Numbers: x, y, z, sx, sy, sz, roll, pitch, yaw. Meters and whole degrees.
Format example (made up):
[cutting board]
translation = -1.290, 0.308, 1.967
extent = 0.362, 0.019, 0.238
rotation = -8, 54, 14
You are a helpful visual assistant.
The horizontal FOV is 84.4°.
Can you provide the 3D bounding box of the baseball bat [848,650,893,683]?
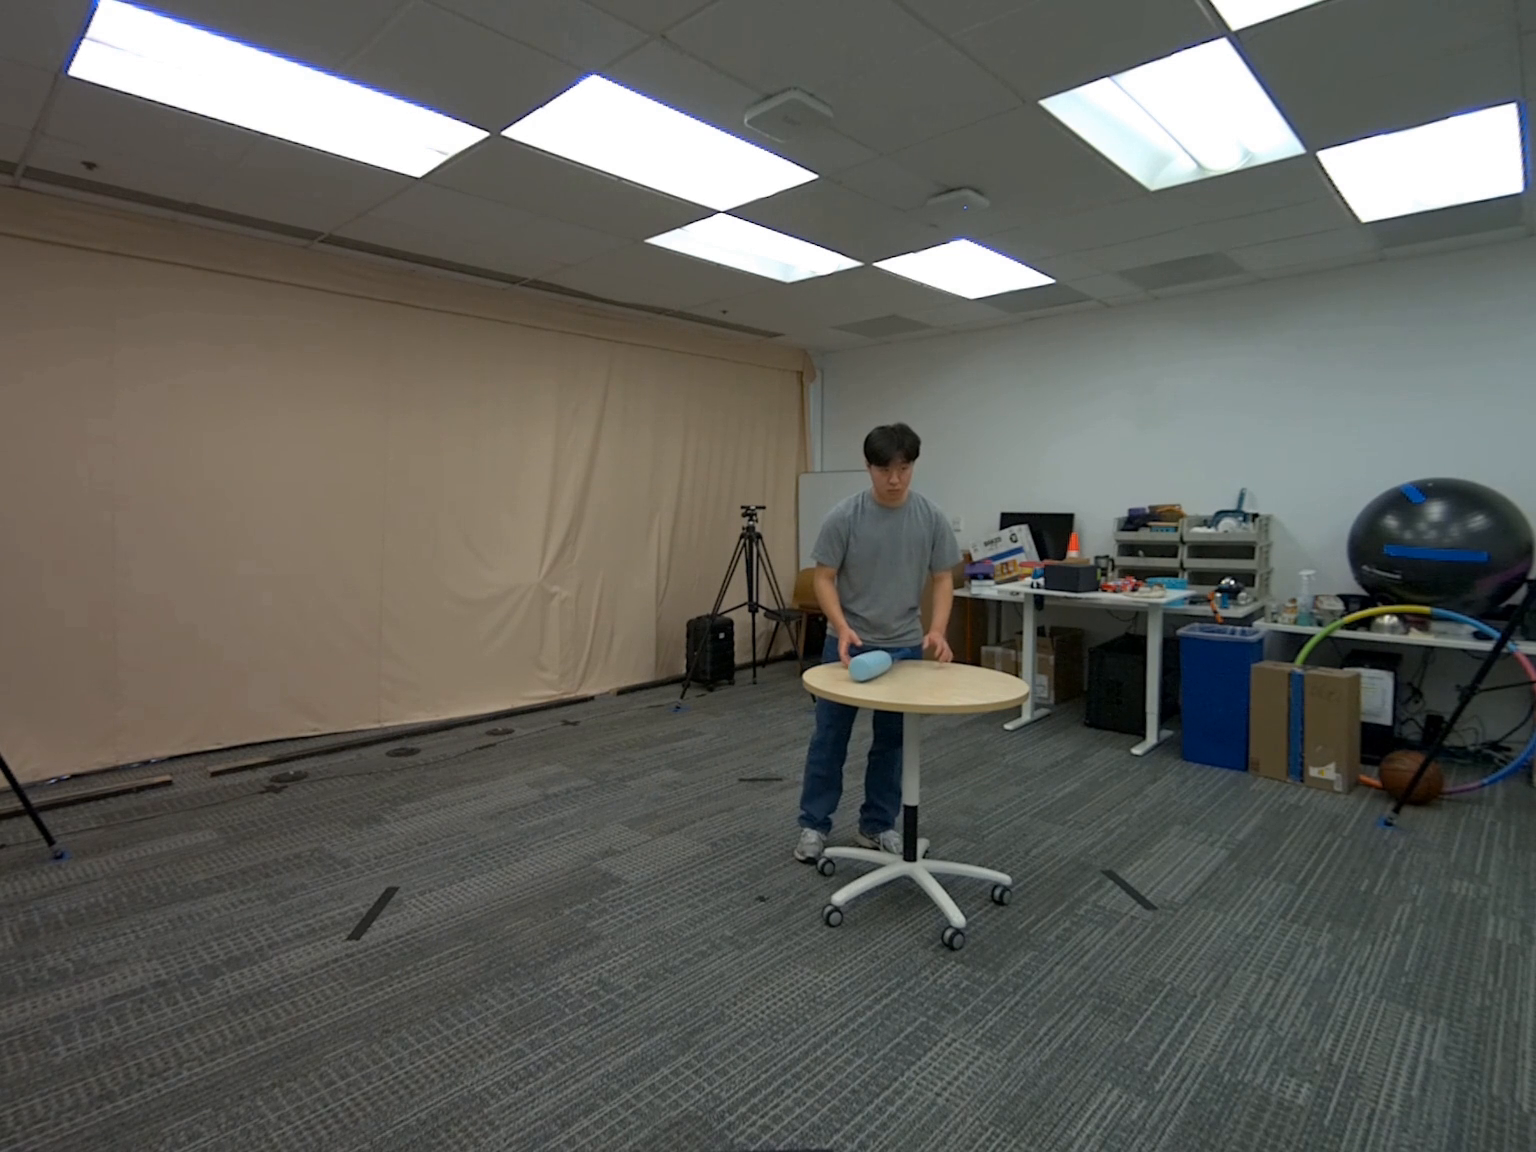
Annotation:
[baseball bat]
translation = 0.431, 0.312, 3.101
extent = 0.091, 0.089, 0.529
rotation = 2, 2, 25
